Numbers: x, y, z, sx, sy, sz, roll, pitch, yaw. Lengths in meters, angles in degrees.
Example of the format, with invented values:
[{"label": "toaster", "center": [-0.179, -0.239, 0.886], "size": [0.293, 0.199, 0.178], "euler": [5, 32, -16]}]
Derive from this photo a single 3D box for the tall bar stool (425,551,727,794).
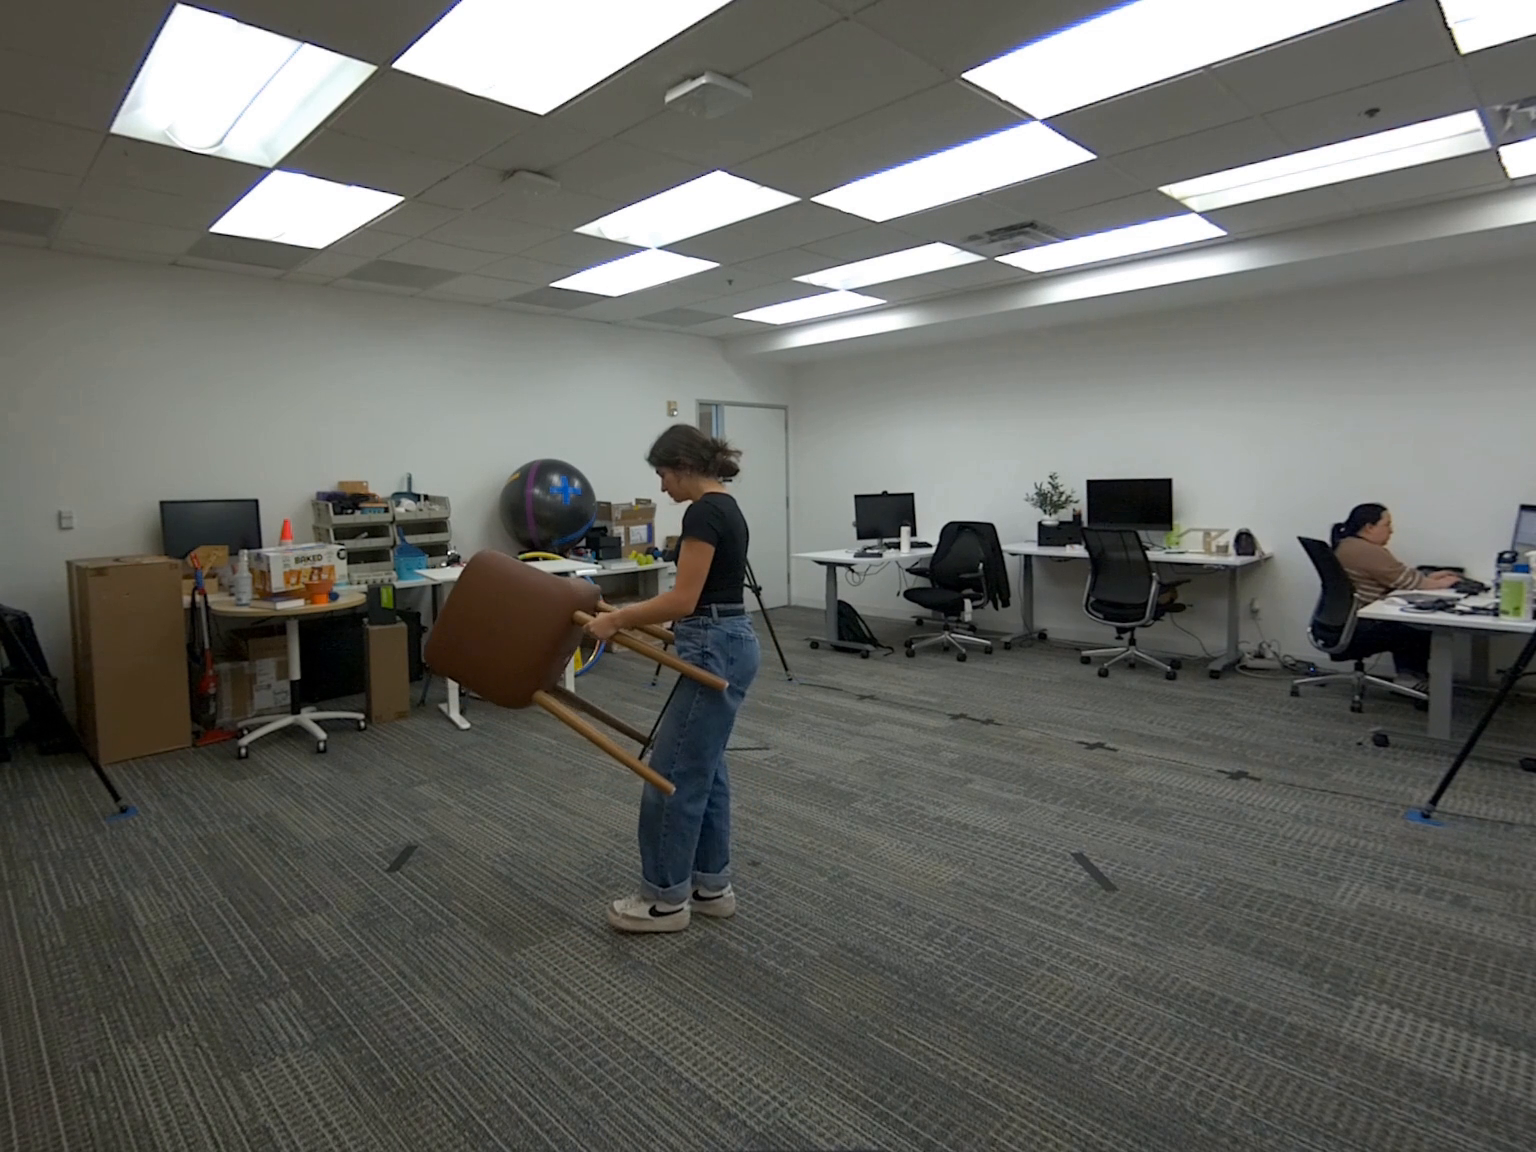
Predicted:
[{"label": "tall bar stool", "center": [-0.578, 0.286, 2.770], "size": [0.894, 0.456, 0.465], "euler": [26, 0, 3]}]
